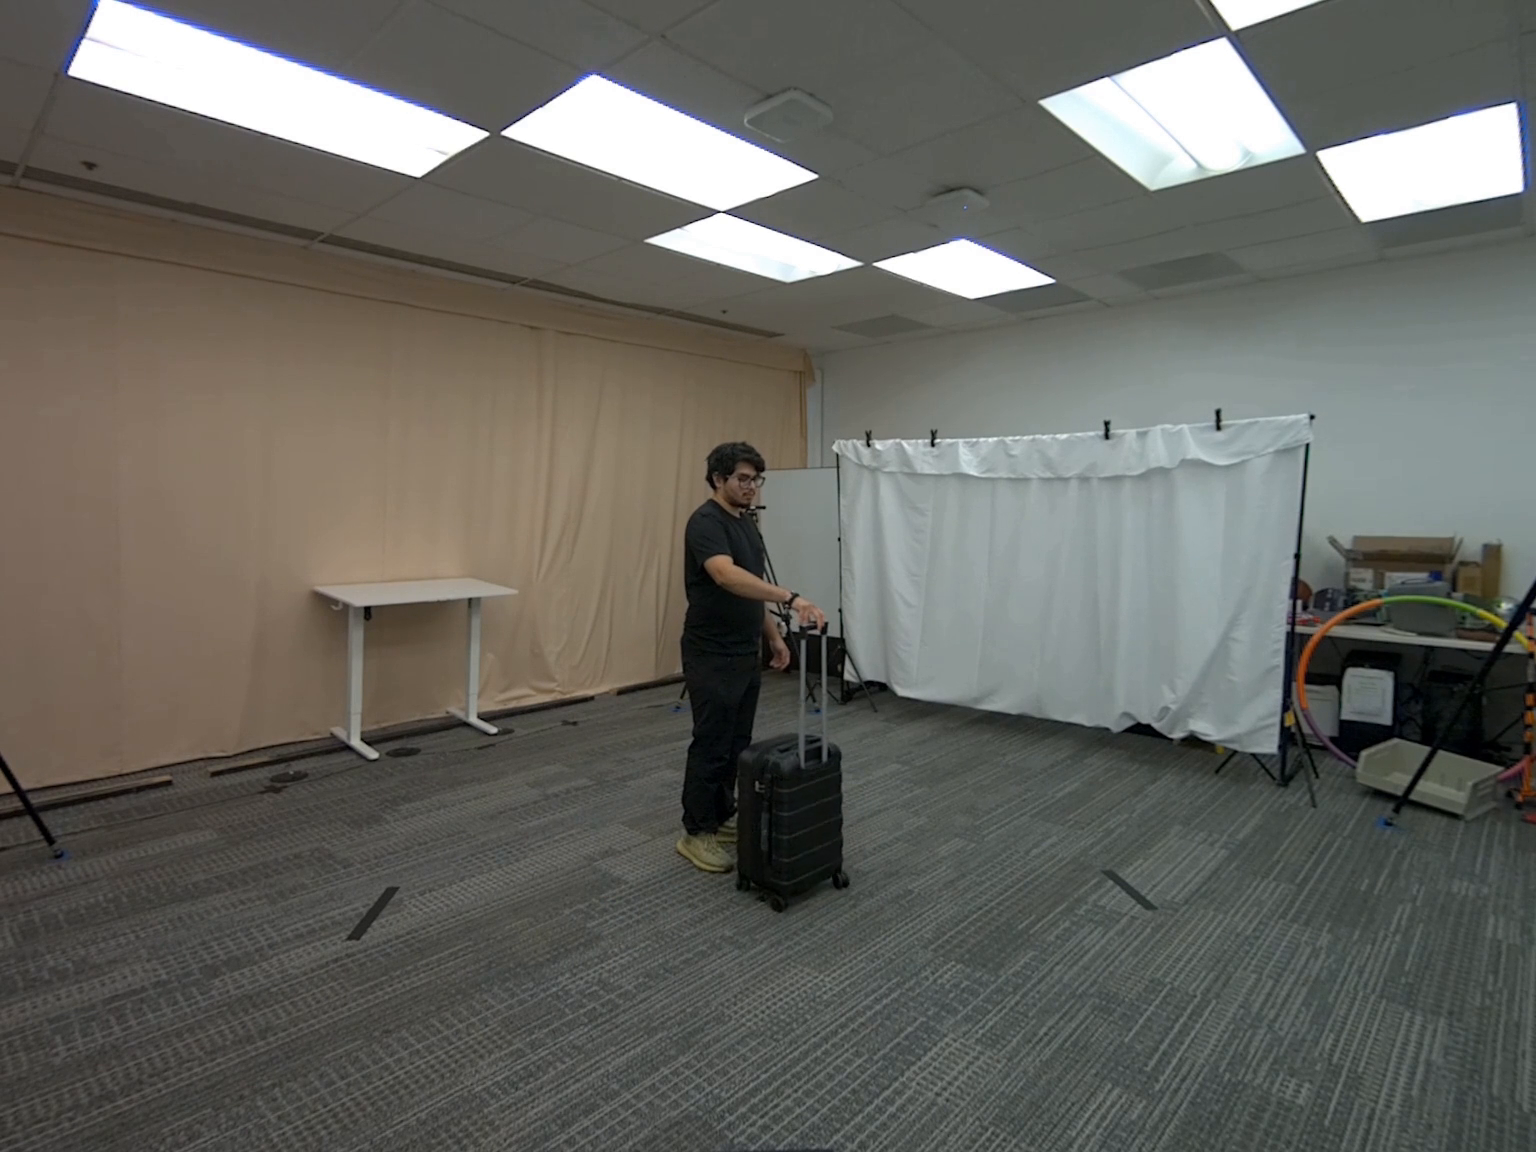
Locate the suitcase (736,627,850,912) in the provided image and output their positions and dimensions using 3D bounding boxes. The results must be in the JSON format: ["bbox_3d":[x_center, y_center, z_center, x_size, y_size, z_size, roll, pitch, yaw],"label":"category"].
[{"bbox_3d":[0.083,0.660,3.035,0.372,0.977,0.265,-3,4,-43],"label":"suitcase"}]
